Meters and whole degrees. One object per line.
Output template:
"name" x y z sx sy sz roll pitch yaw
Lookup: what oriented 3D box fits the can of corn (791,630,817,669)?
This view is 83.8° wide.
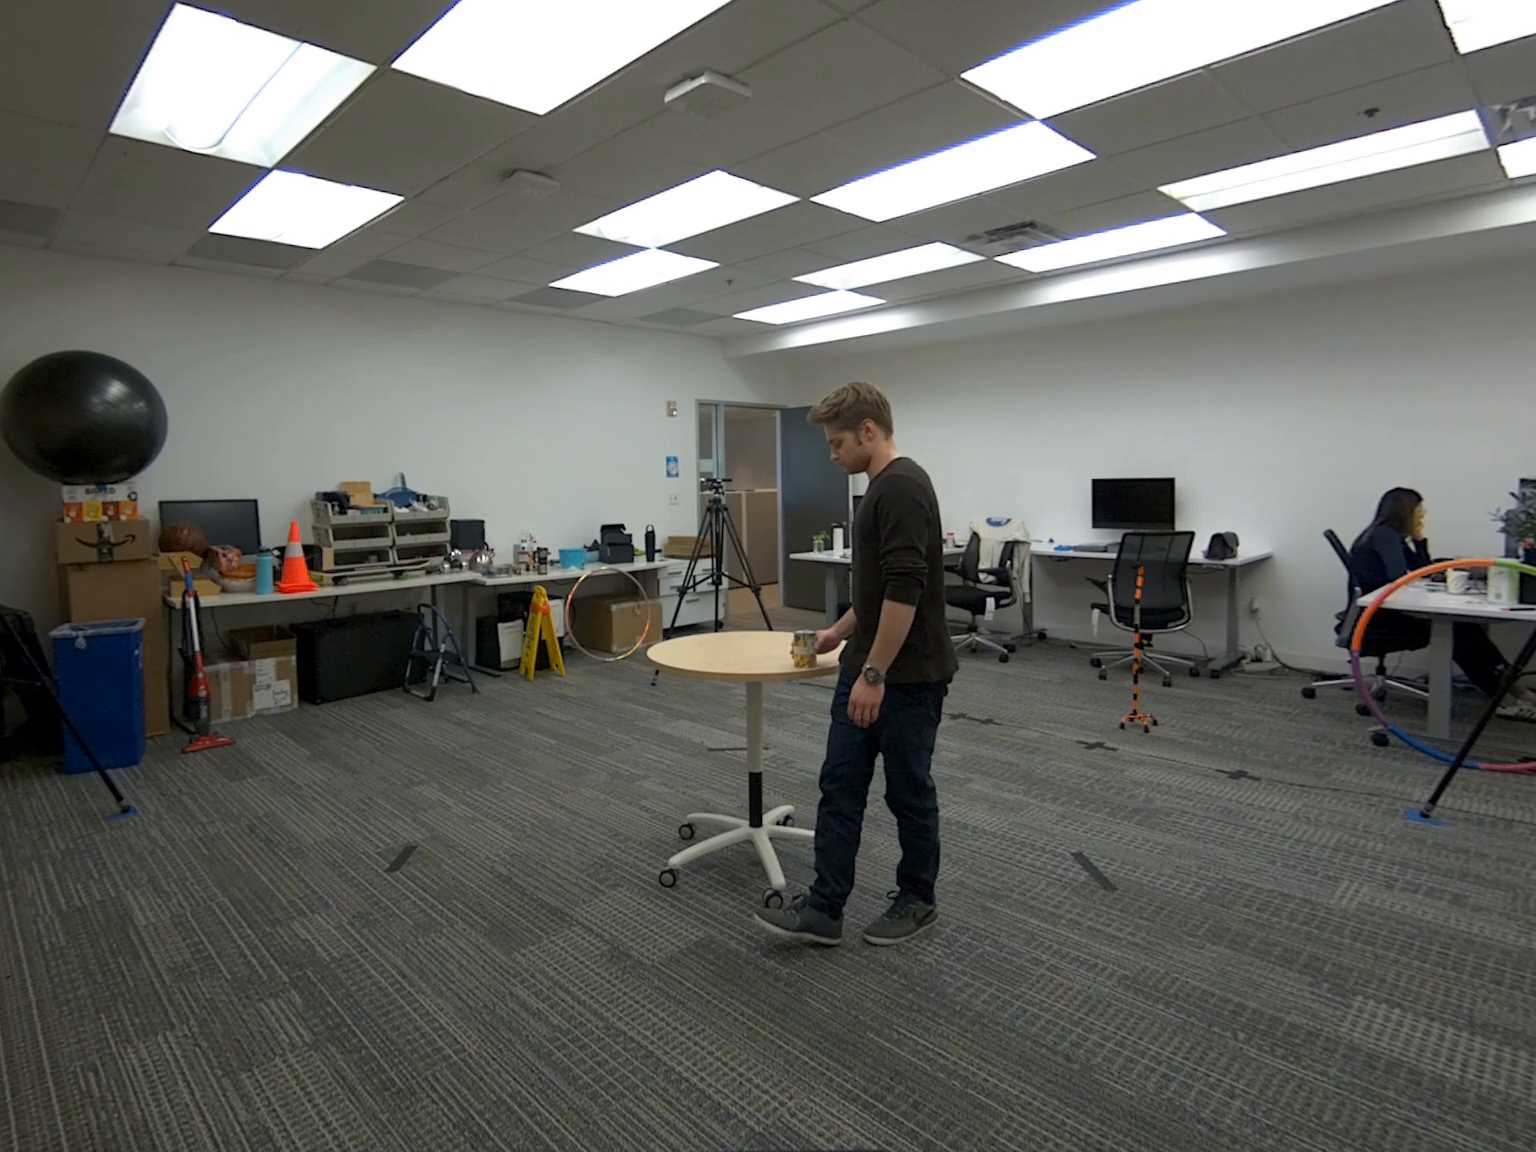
"can of corn" 0.124 0.242 2.768 0.074 0.110 0.074 0 4 -2
